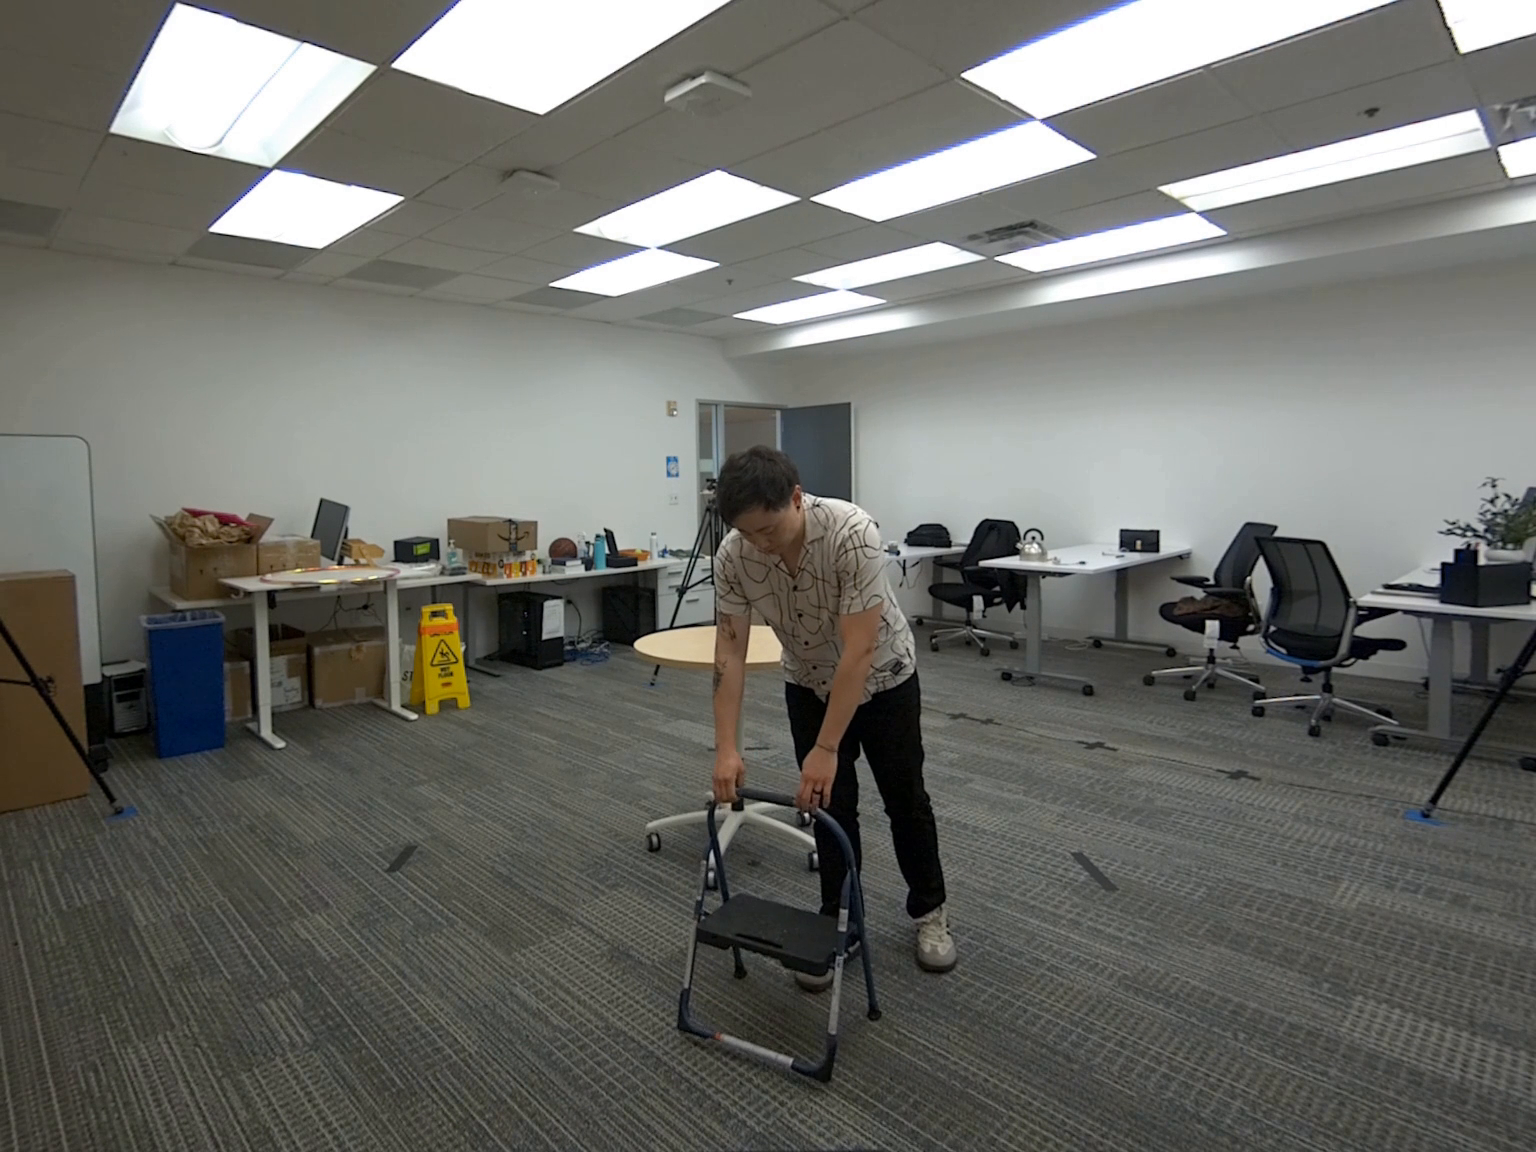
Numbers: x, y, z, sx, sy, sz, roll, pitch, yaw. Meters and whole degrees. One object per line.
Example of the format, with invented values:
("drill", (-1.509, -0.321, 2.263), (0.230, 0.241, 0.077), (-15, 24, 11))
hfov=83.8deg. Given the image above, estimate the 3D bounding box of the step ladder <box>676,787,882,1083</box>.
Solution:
("step ladder", (0.041, 0.843, 2.165), (0.441, 0.605, 0.341), (2, 2, 28))
